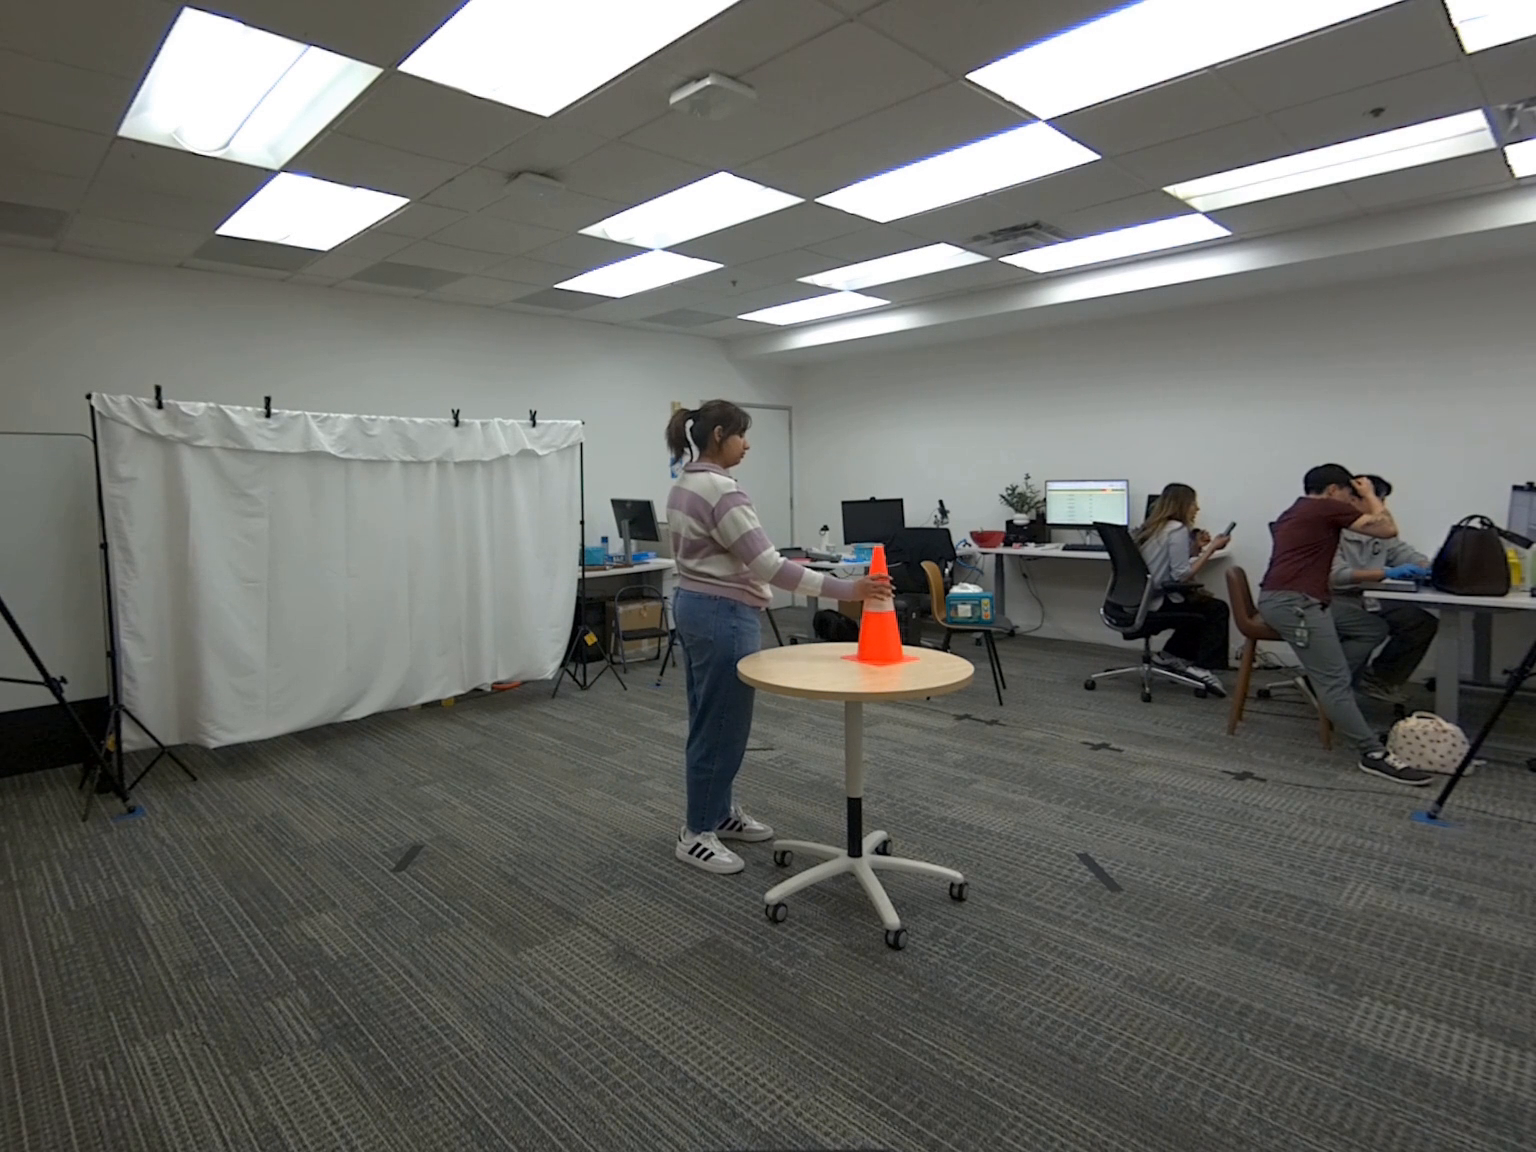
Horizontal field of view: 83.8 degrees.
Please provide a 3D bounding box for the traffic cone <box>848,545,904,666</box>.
[{"bbox_3d":[0.370,0.094,2.883,0.200,0.382,0.209,-6,5,-43],"label":"traffic cone"}]
